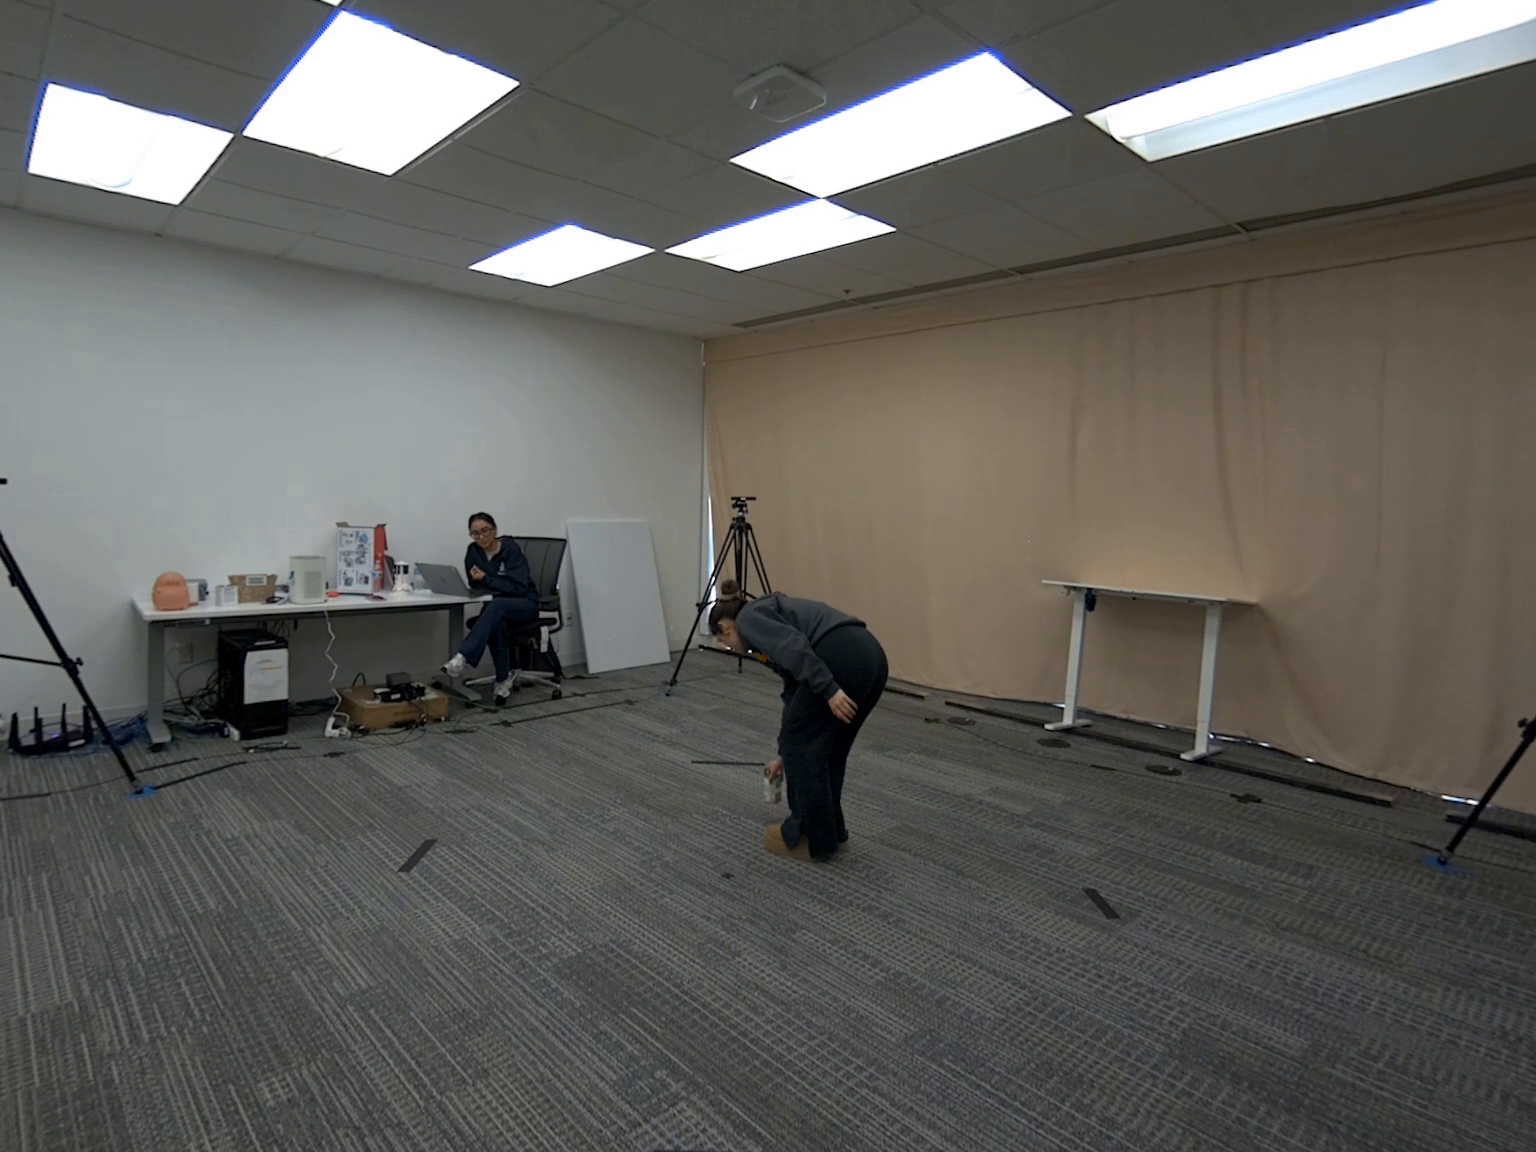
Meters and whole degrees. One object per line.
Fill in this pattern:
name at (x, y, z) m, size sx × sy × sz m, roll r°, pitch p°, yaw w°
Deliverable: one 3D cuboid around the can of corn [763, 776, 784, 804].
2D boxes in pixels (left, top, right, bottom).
can of corn at (0.023, 0.917, 3.660) m, size 0.074 × 0.111 × 0.074 m, roll 4°, pitch 3°, yaw -2°
